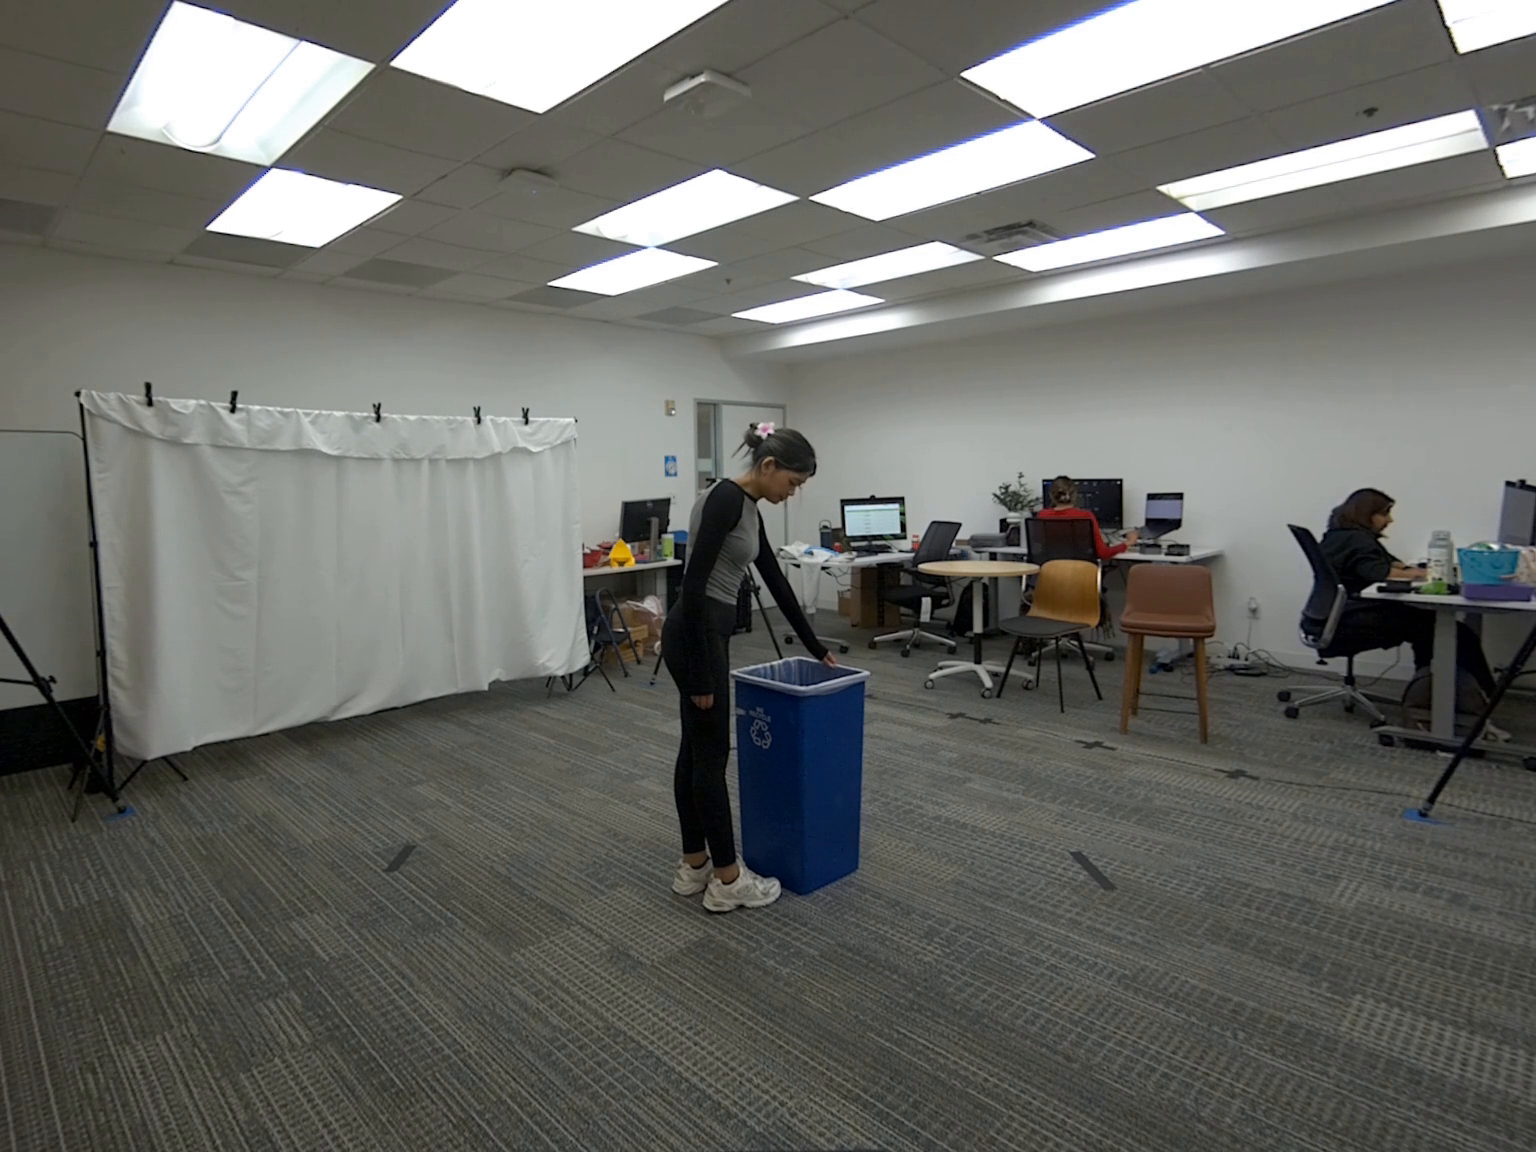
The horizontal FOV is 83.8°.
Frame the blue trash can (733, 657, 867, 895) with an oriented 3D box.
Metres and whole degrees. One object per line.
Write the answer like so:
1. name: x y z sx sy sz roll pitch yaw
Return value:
1. blue trash can: 0.125 0.690 3.032 0.368 0.711 0.385 -4 5 -43
